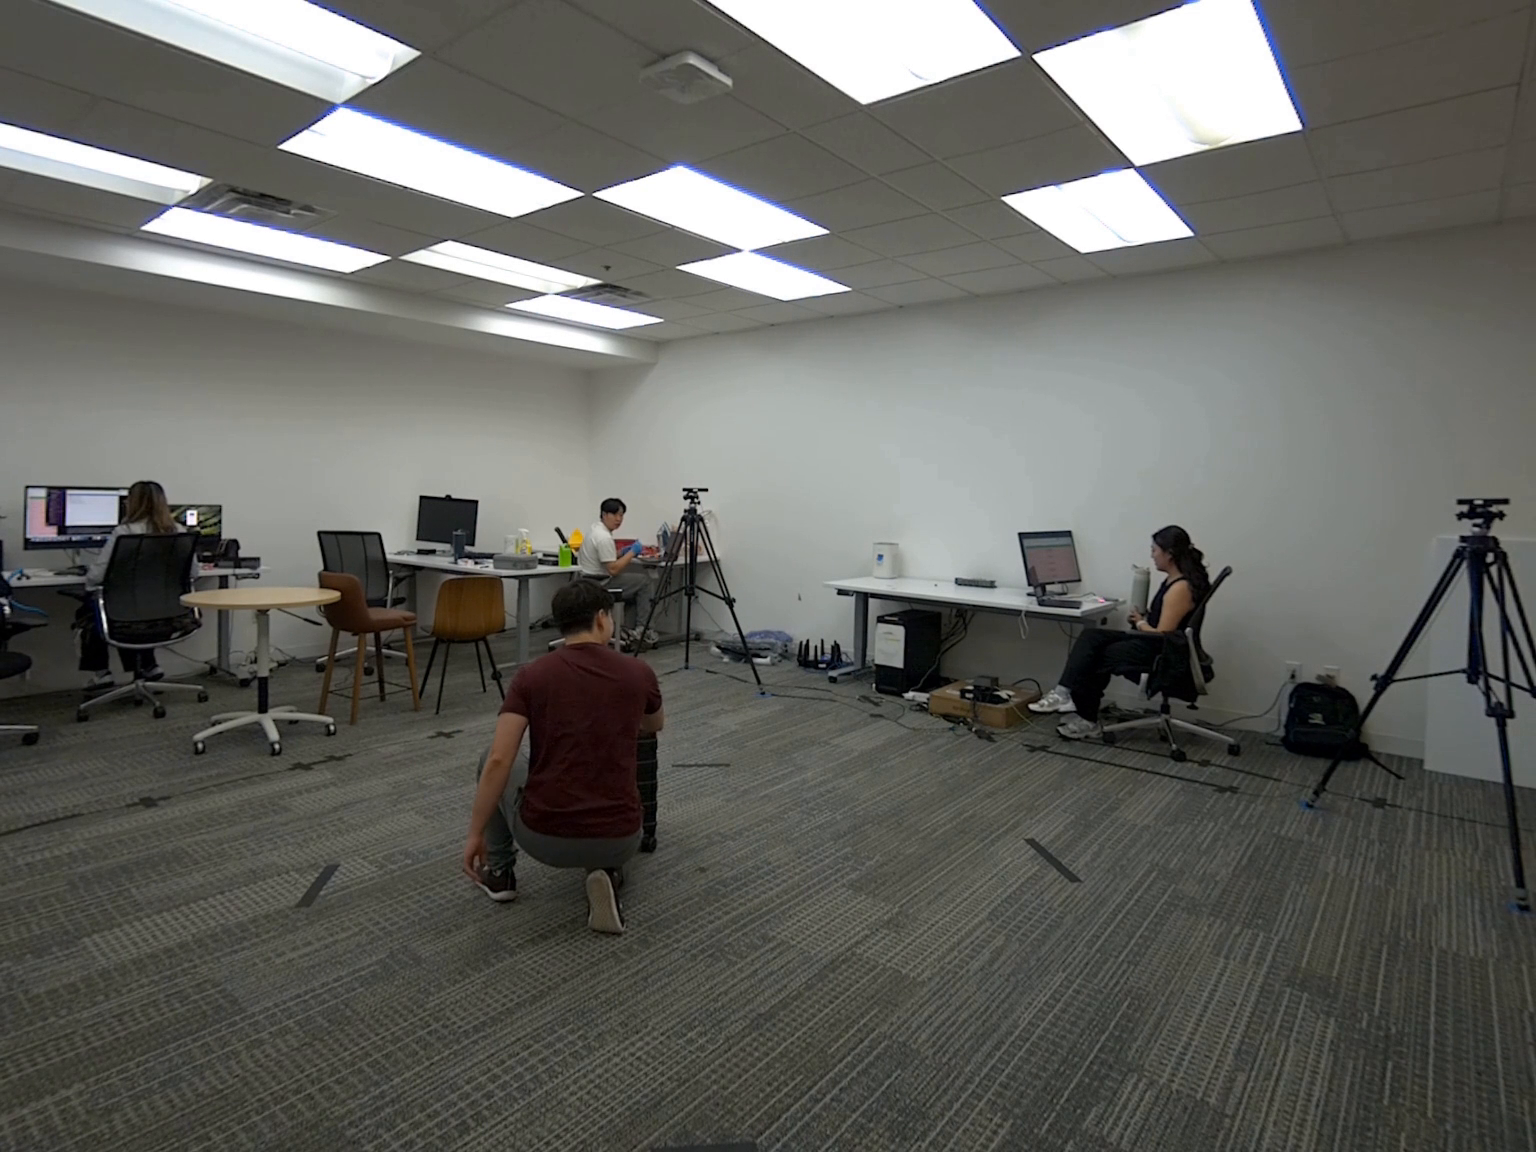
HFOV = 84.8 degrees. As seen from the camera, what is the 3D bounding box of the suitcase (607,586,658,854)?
[{"bbox_3d":[-0.622,0.563,3.296,0.376,0.975,0.263,-1,4,-21],"label":"suitcase"}]
